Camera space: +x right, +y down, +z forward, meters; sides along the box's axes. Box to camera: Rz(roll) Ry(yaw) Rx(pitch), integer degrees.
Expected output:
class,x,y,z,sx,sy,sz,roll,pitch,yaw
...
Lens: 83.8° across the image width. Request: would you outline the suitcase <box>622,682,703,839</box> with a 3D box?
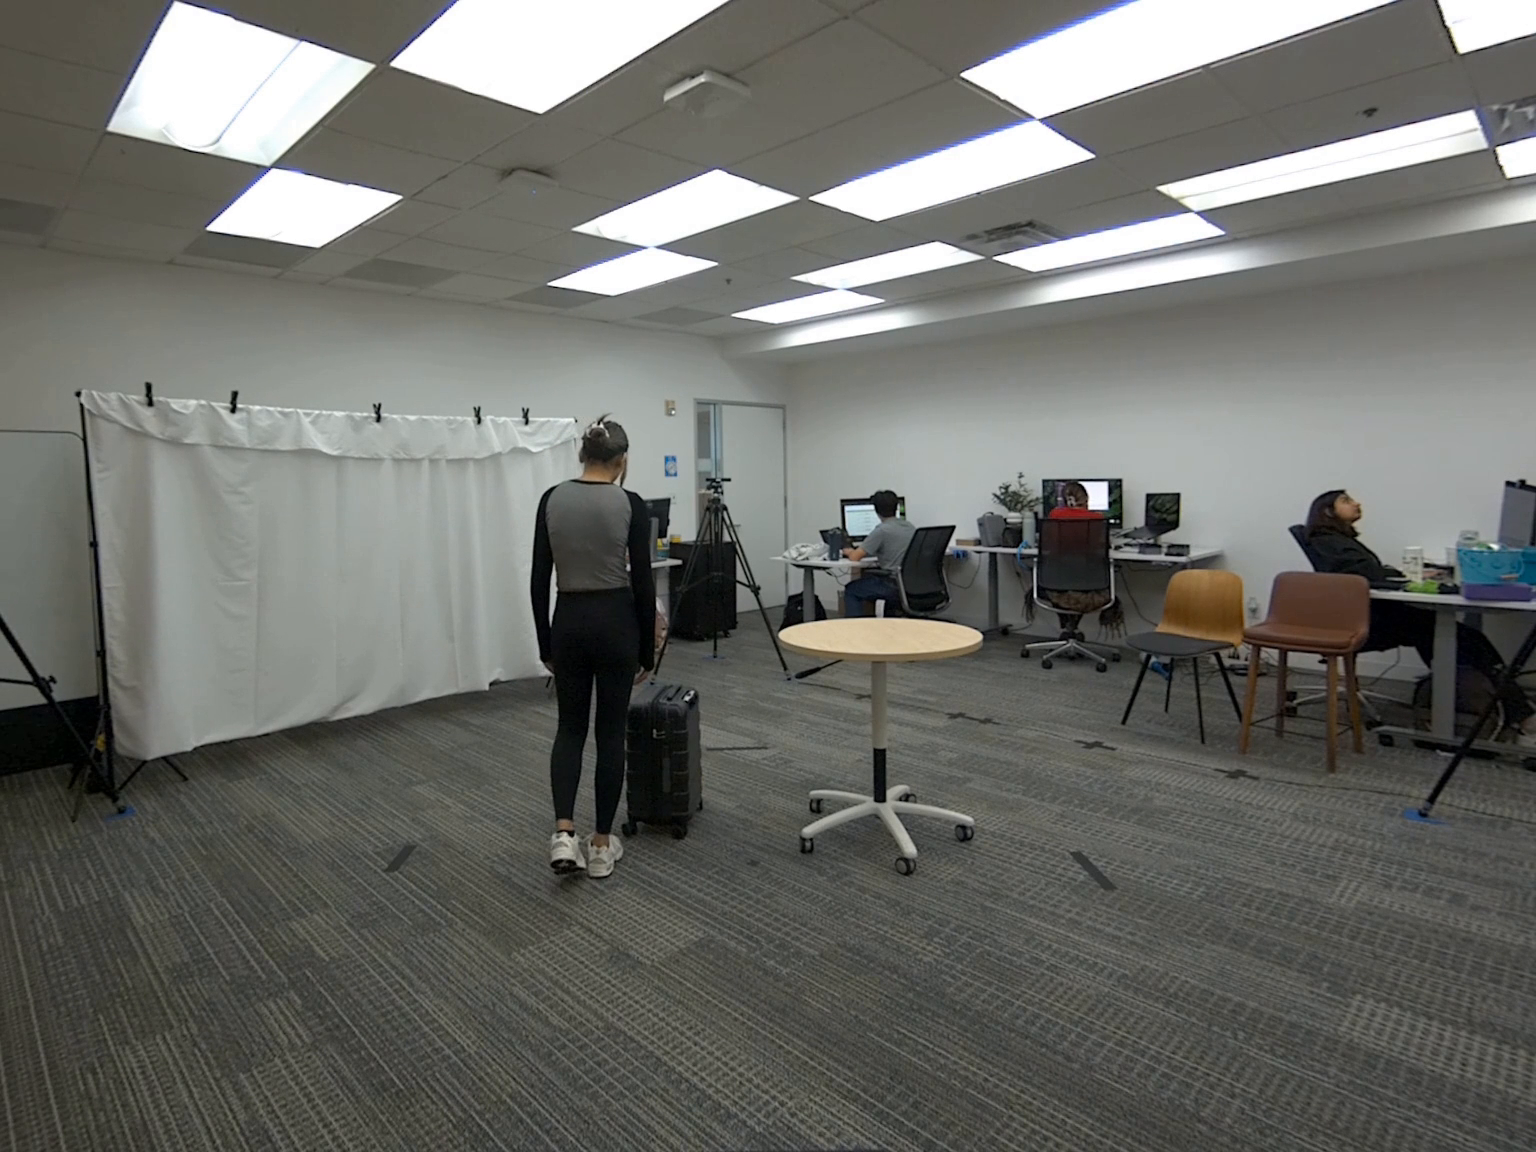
class,x,y,z,sx,sy,sz,roll,pitch,yaw
suitcase,-0.425,0.739,3.471,0.250,0.547,0.374,-1,5,6
